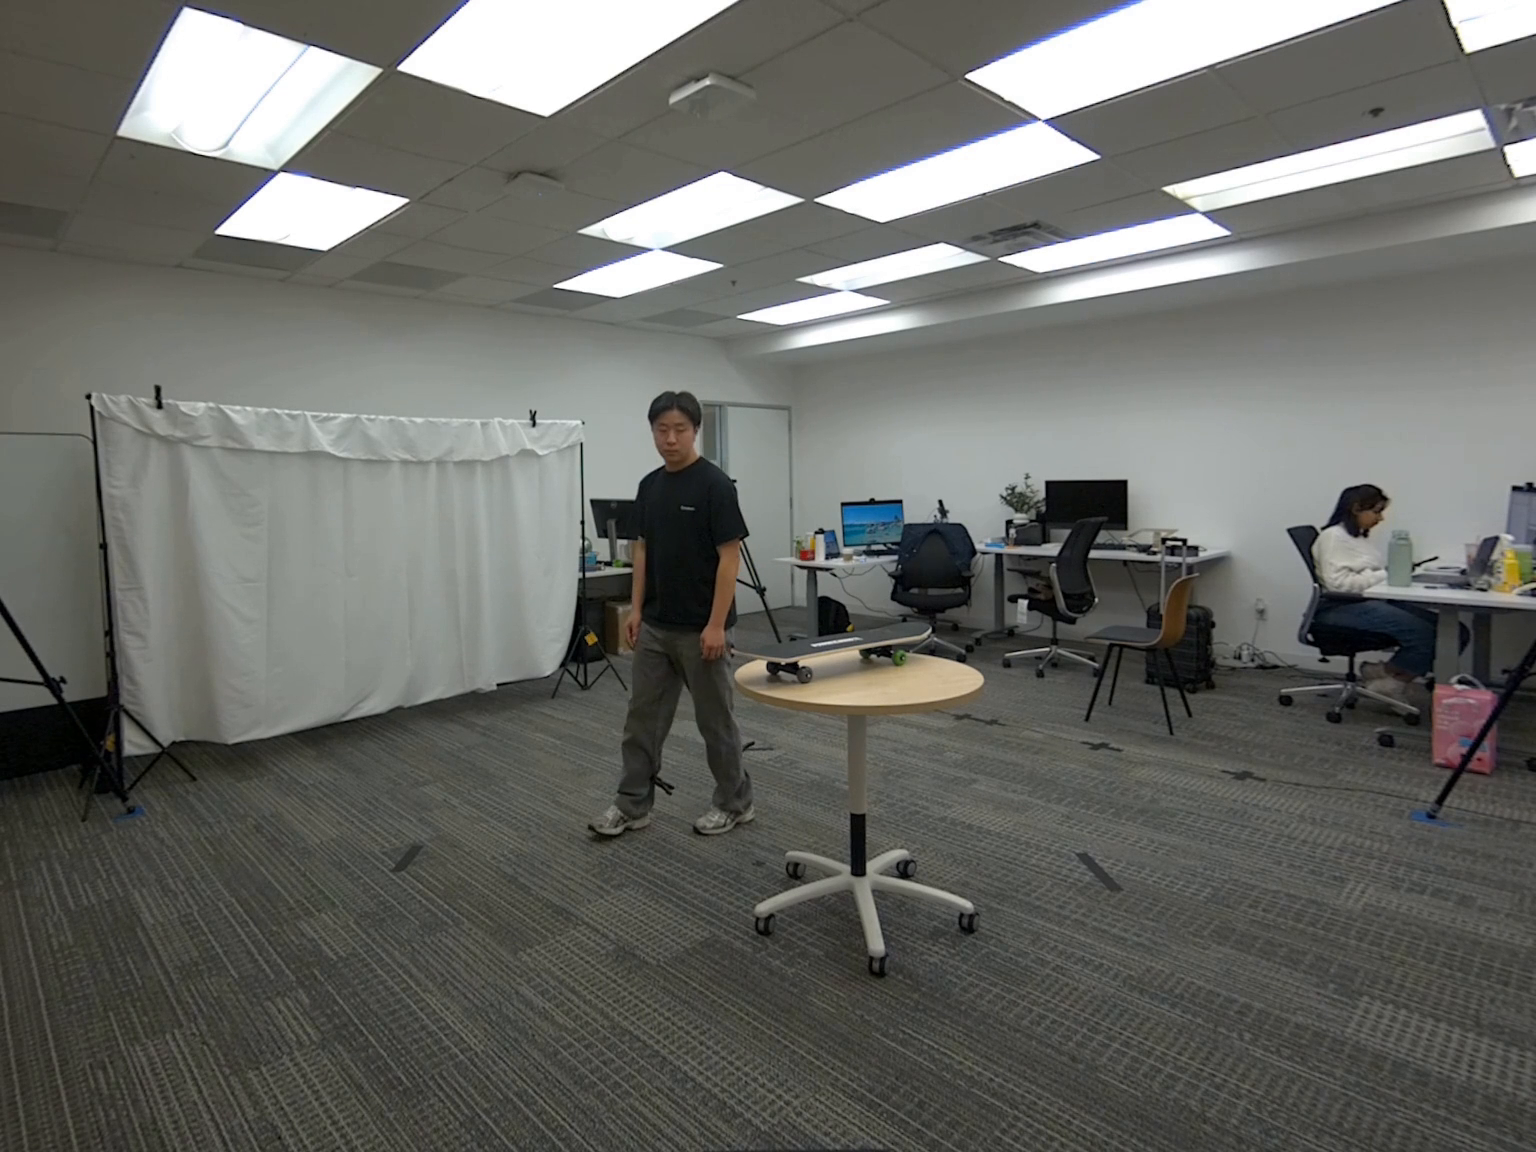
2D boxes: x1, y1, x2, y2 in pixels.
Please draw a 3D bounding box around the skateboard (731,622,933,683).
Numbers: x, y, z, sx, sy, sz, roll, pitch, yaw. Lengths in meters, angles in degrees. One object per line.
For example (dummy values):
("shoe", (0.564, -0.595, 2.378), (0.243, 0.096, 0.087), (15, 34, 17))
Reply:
("skateboard", (0.214, 0.251, 2.743), (0.766, 0.110, 0.199), (-6, 7, -35))
